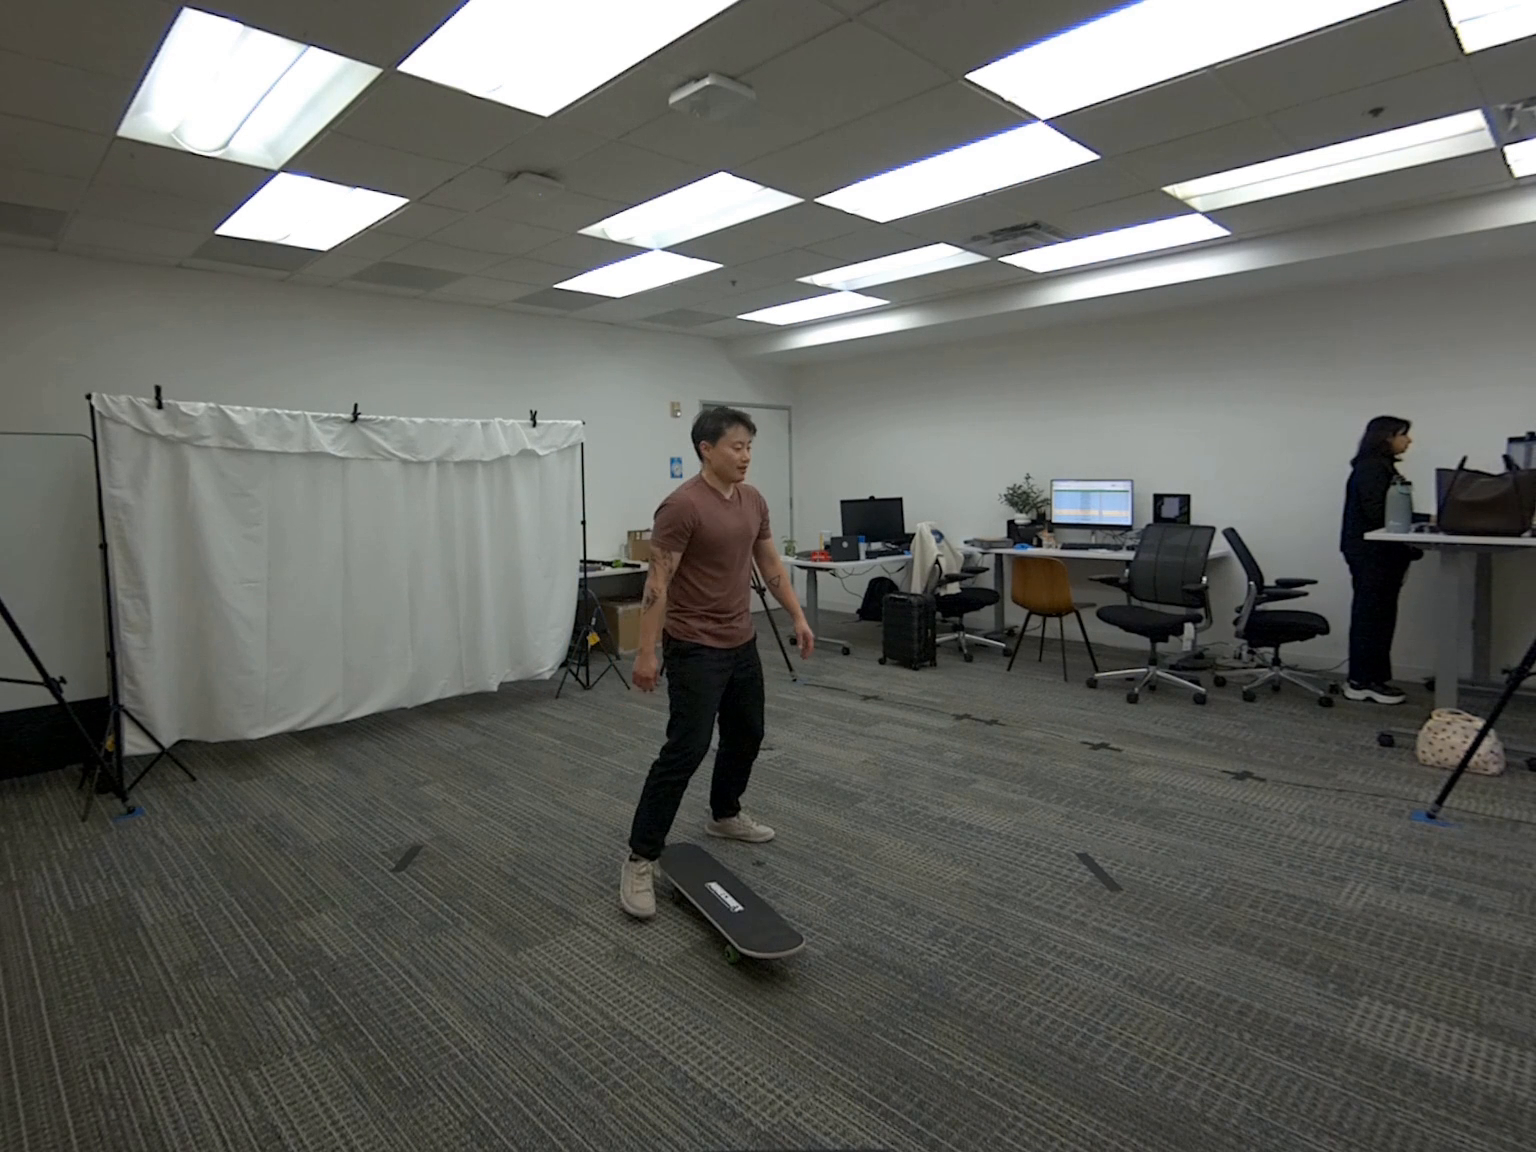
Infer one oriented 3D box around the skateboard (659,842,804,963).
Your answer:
[{"bbox_3d":[-0.131,1.046,2.685,0.189,0.110,0.807,-6,8,-29],"label":"skateboard"}]
